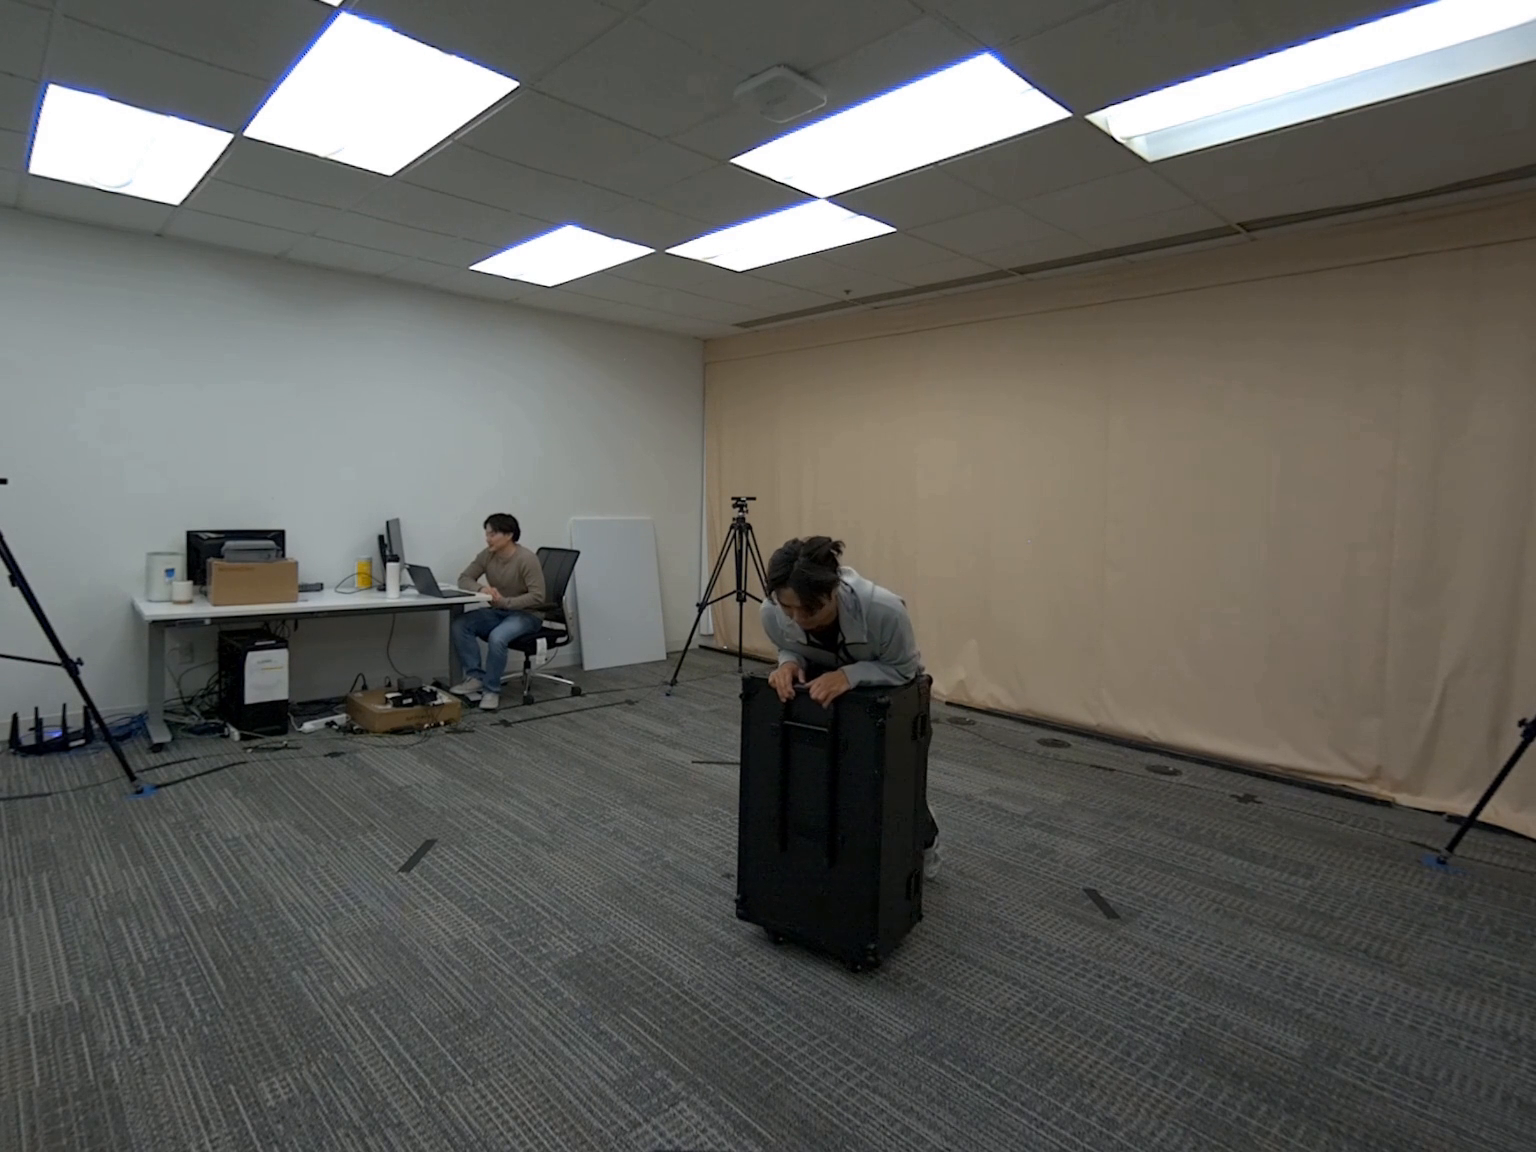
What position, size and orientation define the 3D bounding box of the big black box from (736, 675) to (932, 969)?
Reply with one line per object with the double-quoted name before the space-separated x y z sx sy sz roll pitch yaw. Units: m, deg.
"big black box" 0.196 0.737 2.628 0.533 0.858 0.388 5 6 33
